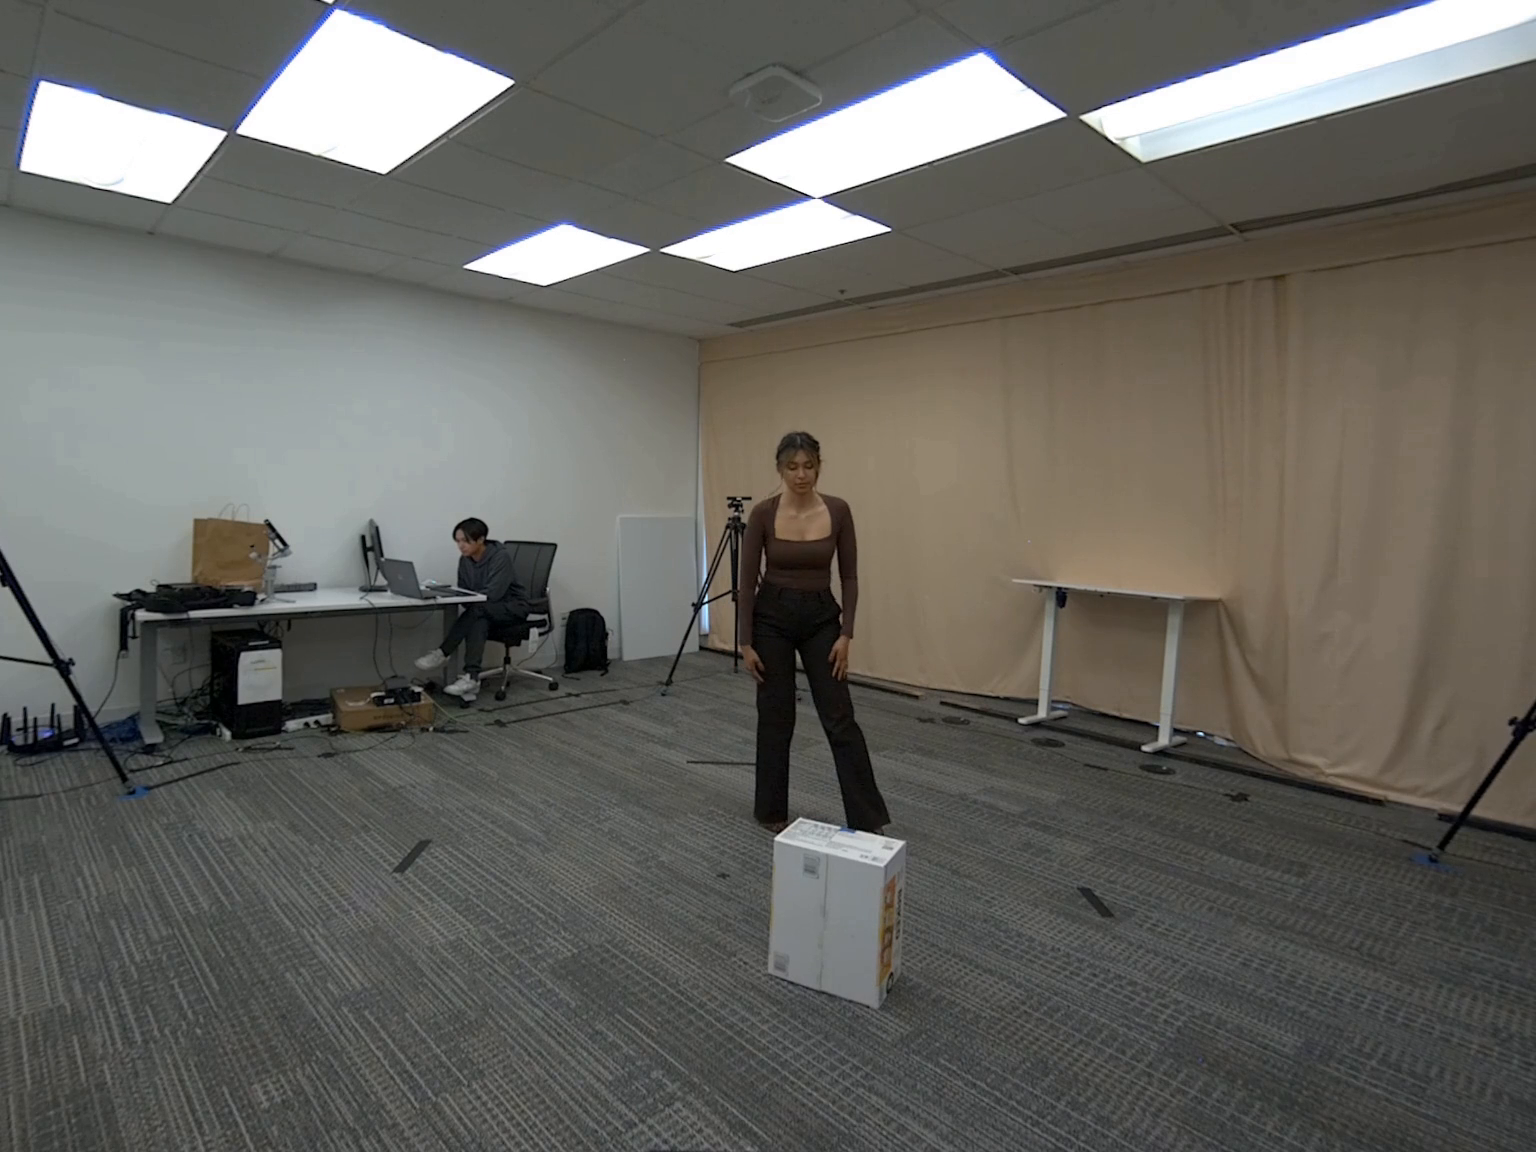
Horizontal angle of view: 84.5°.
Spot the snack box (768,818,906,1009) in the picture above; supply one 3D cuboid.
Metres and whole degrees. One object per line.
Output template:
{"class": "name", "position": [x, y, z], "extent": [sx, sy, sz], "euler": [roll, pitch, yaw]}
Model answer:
{"class": "snack box", "position": [0.195, 0.970, 2.460], "extent": [0.347, 0.404, 0.202], "euler": [4, 5, 27]}
